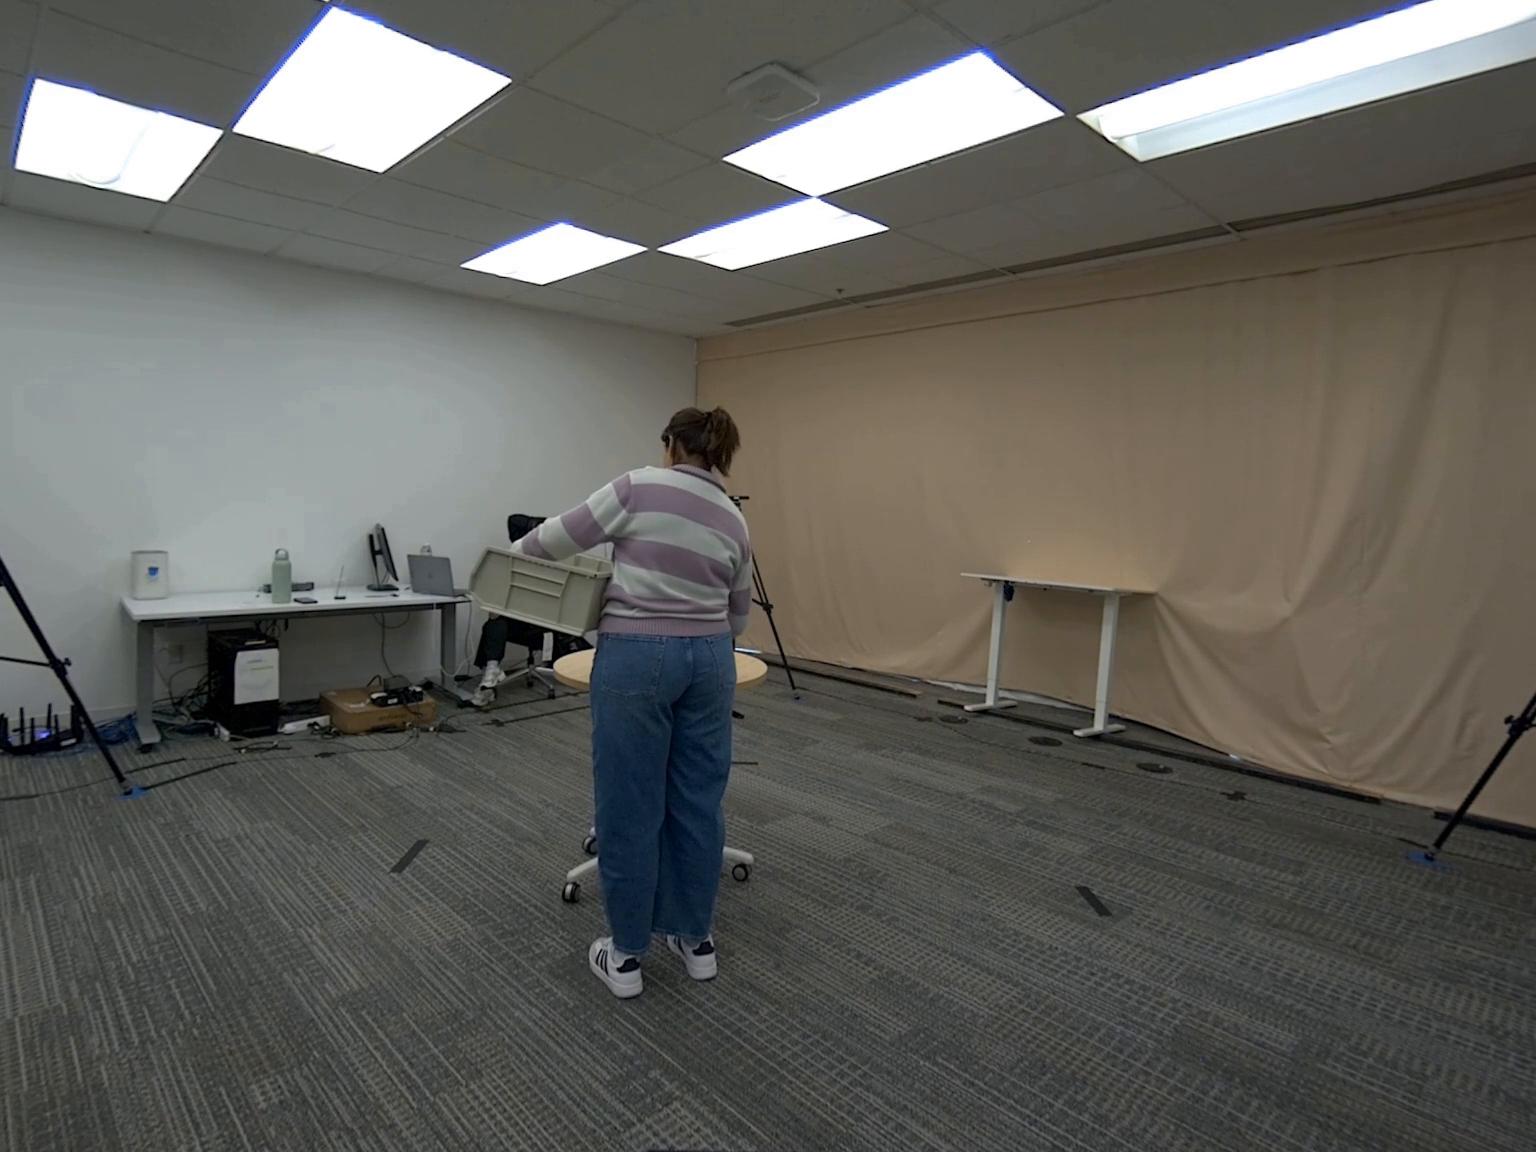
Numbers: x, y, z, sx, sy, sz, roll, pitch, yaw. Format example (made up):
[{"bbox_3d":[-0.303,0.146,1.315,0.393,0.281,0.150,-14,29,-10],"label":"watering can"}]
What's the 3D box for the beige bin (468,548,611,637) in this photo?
[{"bbox_3d":[-0.615,0.045,2.500,0.383,0.188,0.417,14,6,15],"label":"beige bin"}]
